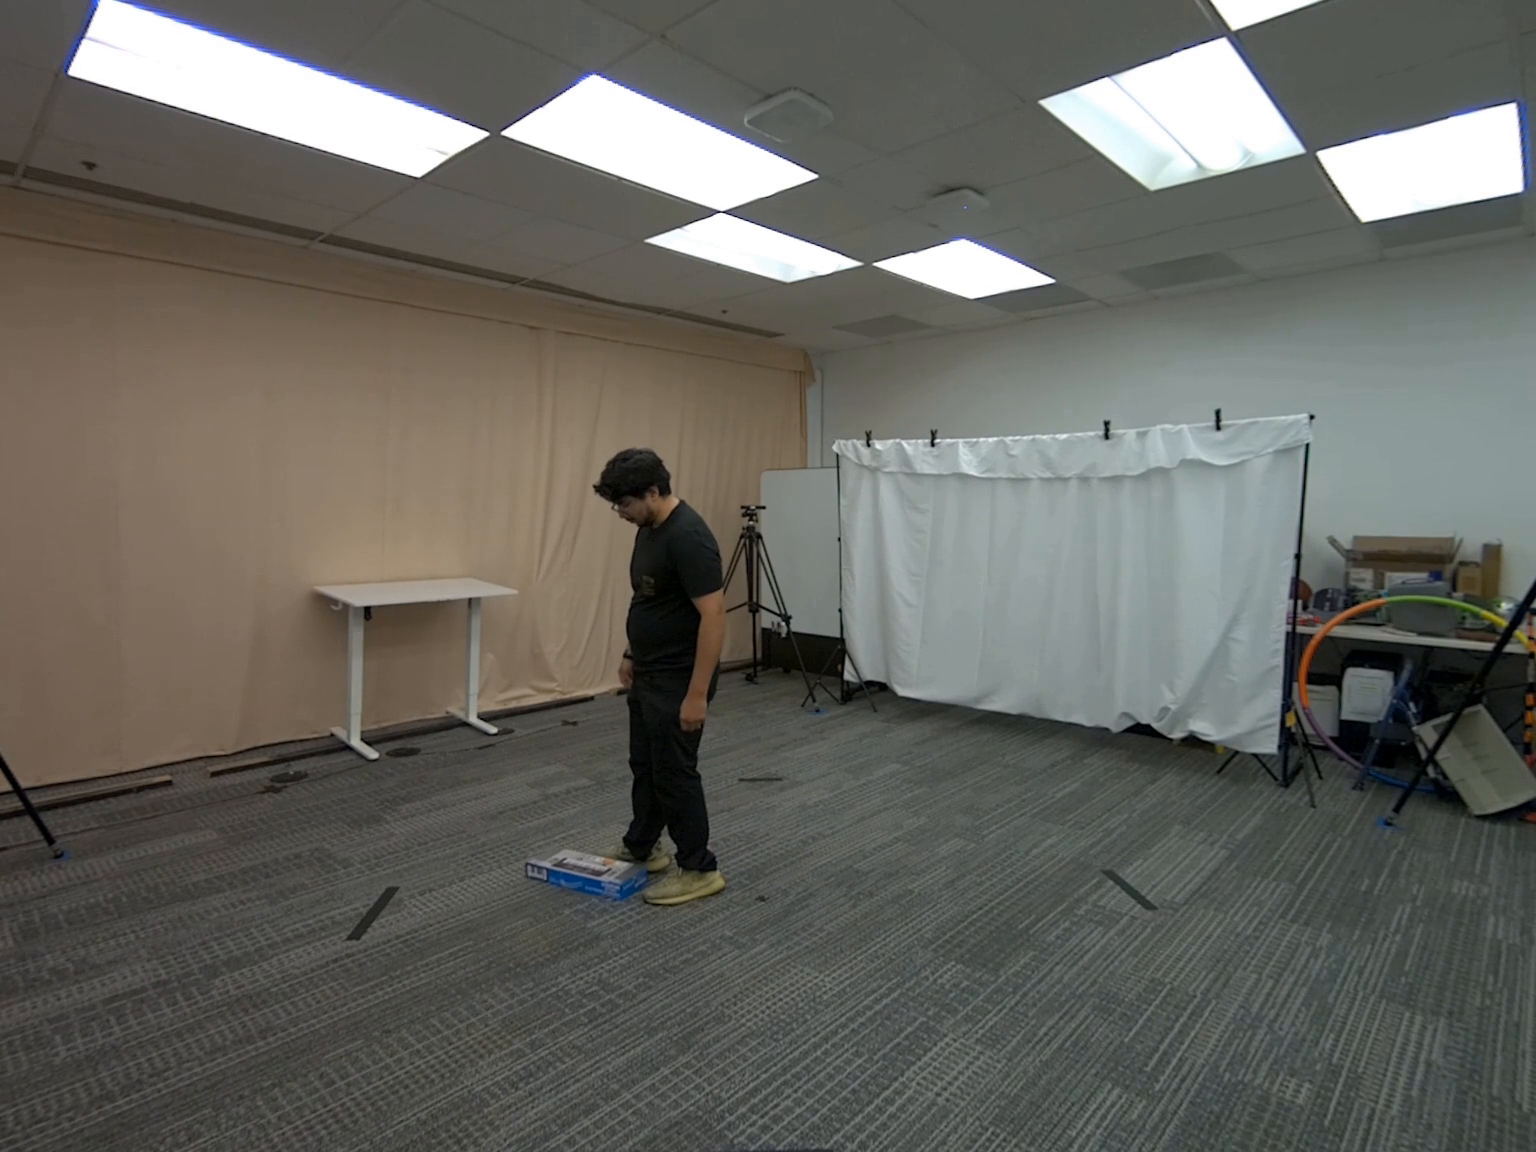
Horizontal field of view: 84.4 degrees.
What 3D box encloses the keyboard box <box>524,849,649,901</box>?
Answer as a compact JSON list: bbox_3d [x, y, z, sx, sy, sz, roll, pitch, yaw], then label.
[{"bbox_3d":[-0.677,1.112,3.149,0.449,0.059,0.171,1,4,28],"label":"keyboard box"}]
